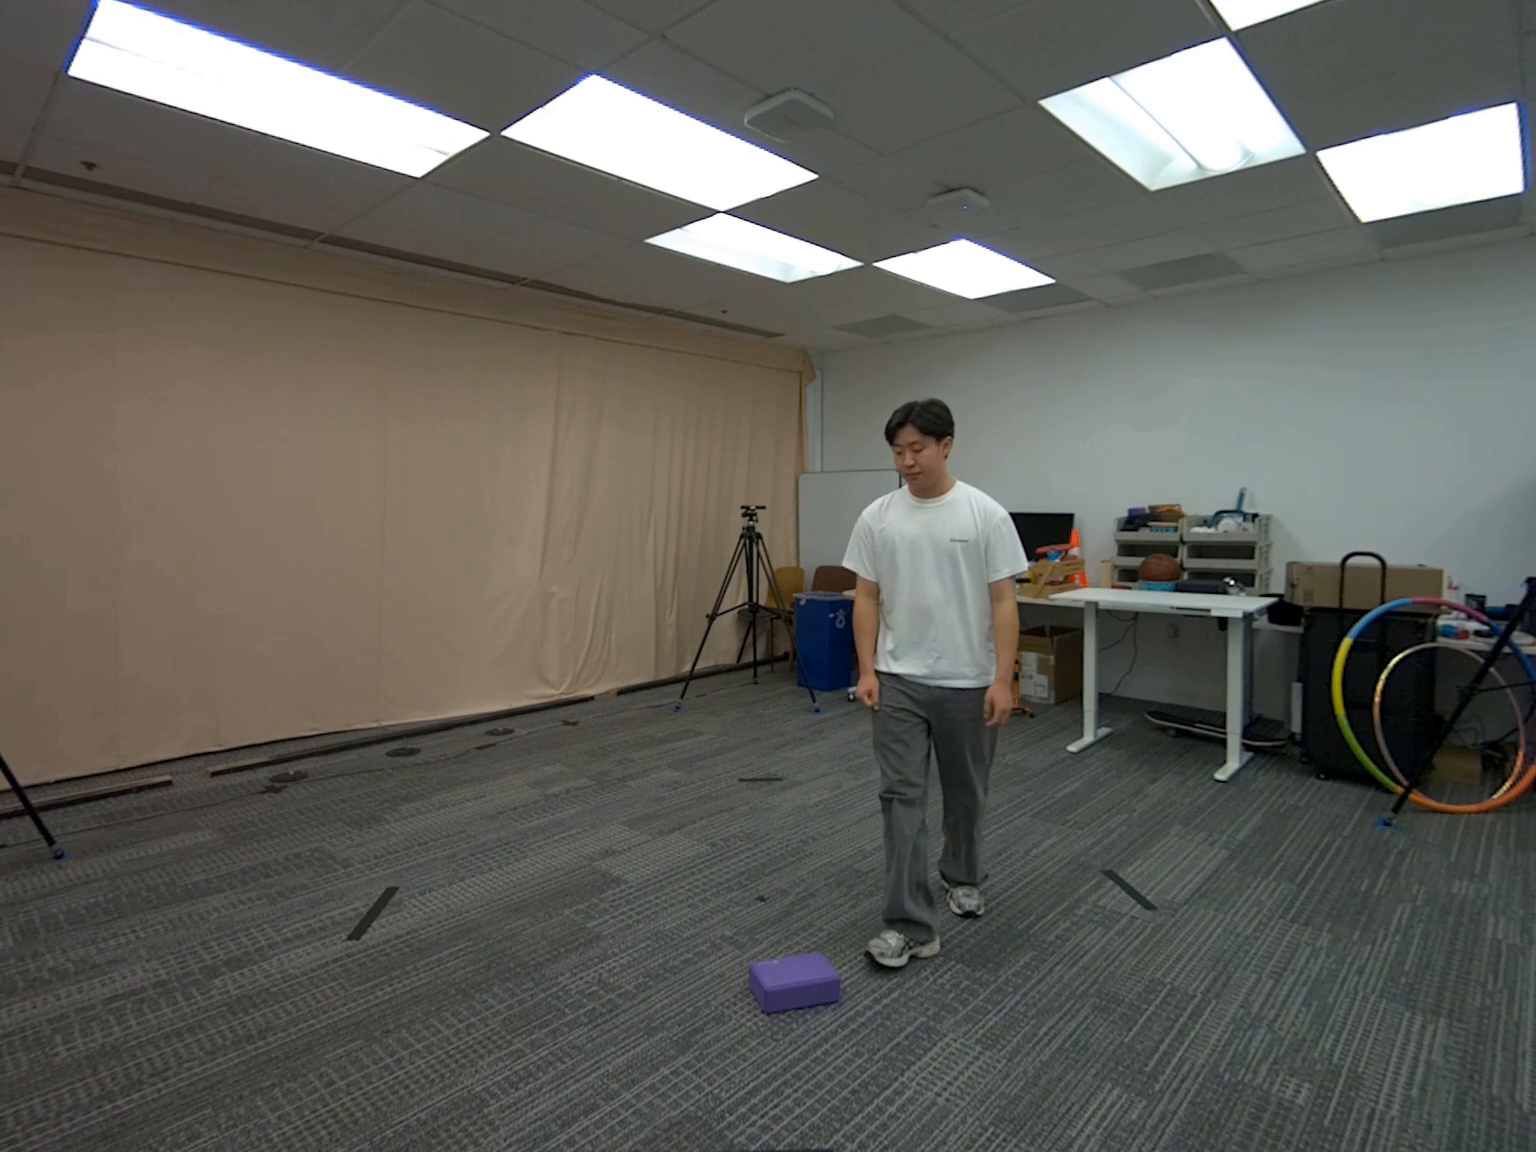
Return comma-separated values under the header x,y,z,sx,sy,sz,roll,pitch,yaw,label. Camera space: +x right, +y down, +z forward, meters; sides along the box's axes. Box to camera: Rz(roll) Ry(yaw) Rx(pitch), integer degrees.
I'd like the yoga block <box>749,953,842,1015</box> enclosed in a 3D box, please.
x,y,z,sx,sy,sz,roll,pitch,yaw,label
0.083,1.155,2.390,0.225,0.076,0.152,-1,4,-16,yoga block
